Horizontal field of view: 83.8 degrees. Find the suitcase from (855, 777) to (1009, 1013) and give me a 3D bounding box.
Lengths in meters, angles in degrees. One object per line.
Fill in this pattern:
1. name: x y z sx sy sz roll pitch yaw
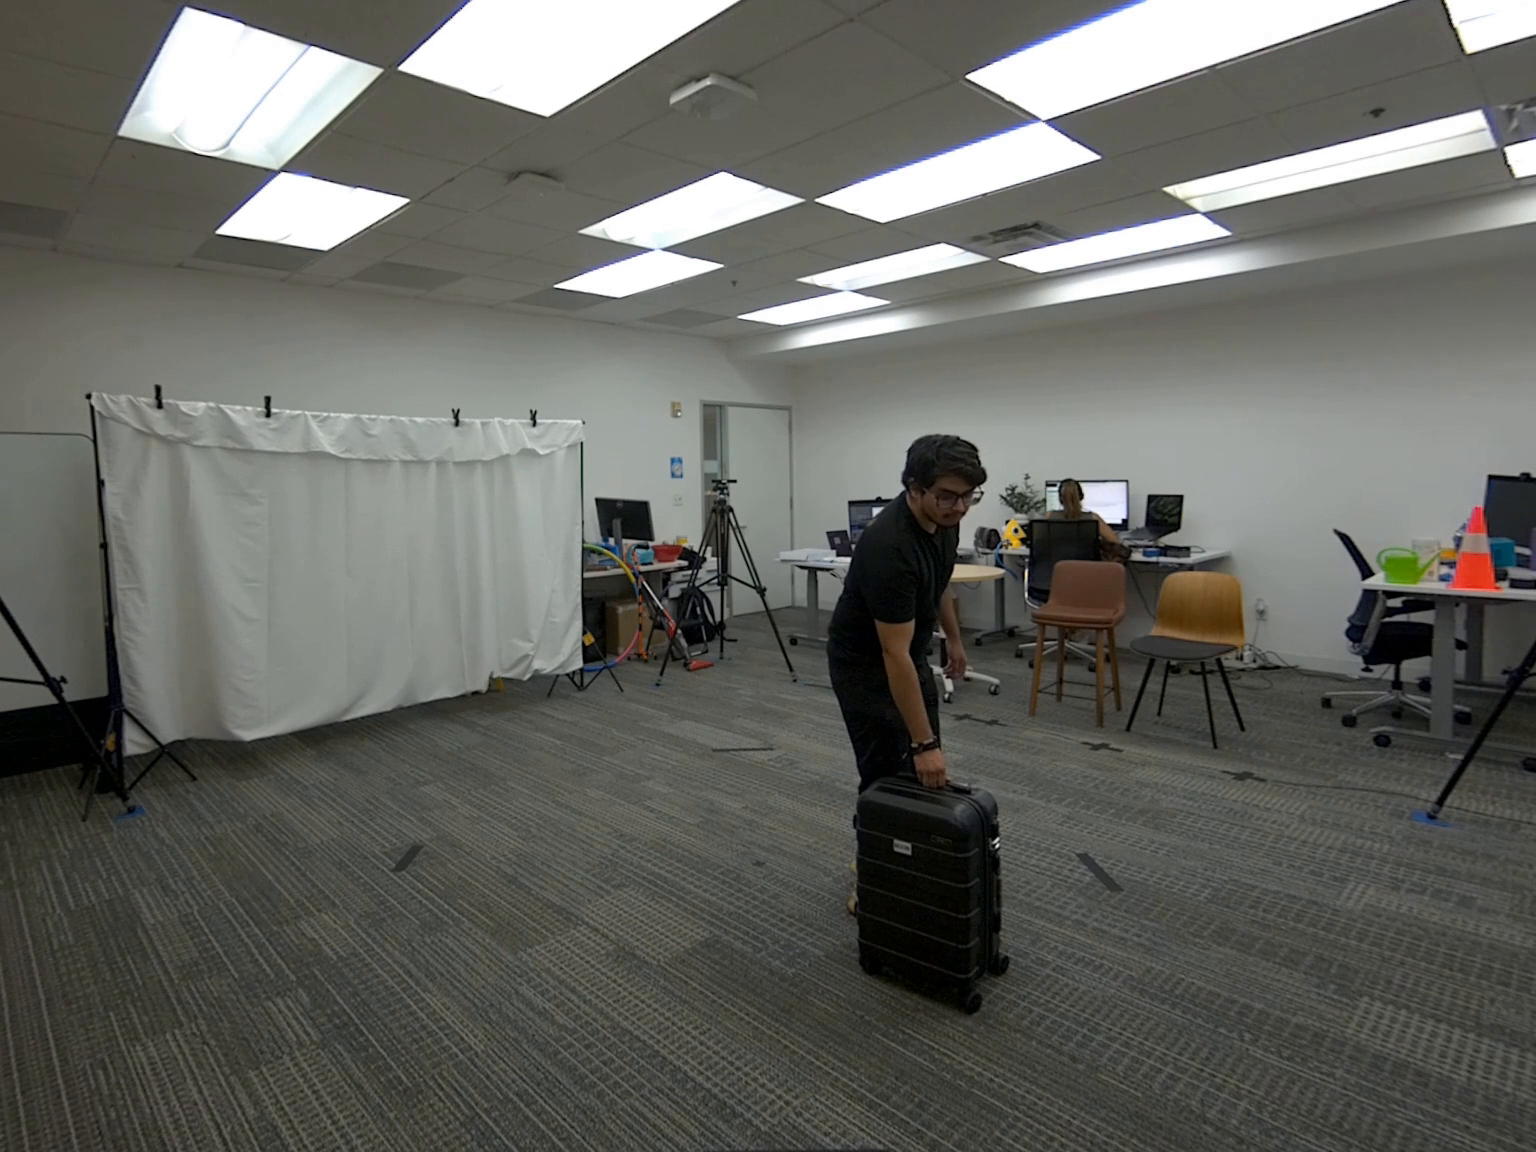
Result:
1. suitcase: 0.452 0.849 2.384 0.386 0.547 0.242 0 6 36
